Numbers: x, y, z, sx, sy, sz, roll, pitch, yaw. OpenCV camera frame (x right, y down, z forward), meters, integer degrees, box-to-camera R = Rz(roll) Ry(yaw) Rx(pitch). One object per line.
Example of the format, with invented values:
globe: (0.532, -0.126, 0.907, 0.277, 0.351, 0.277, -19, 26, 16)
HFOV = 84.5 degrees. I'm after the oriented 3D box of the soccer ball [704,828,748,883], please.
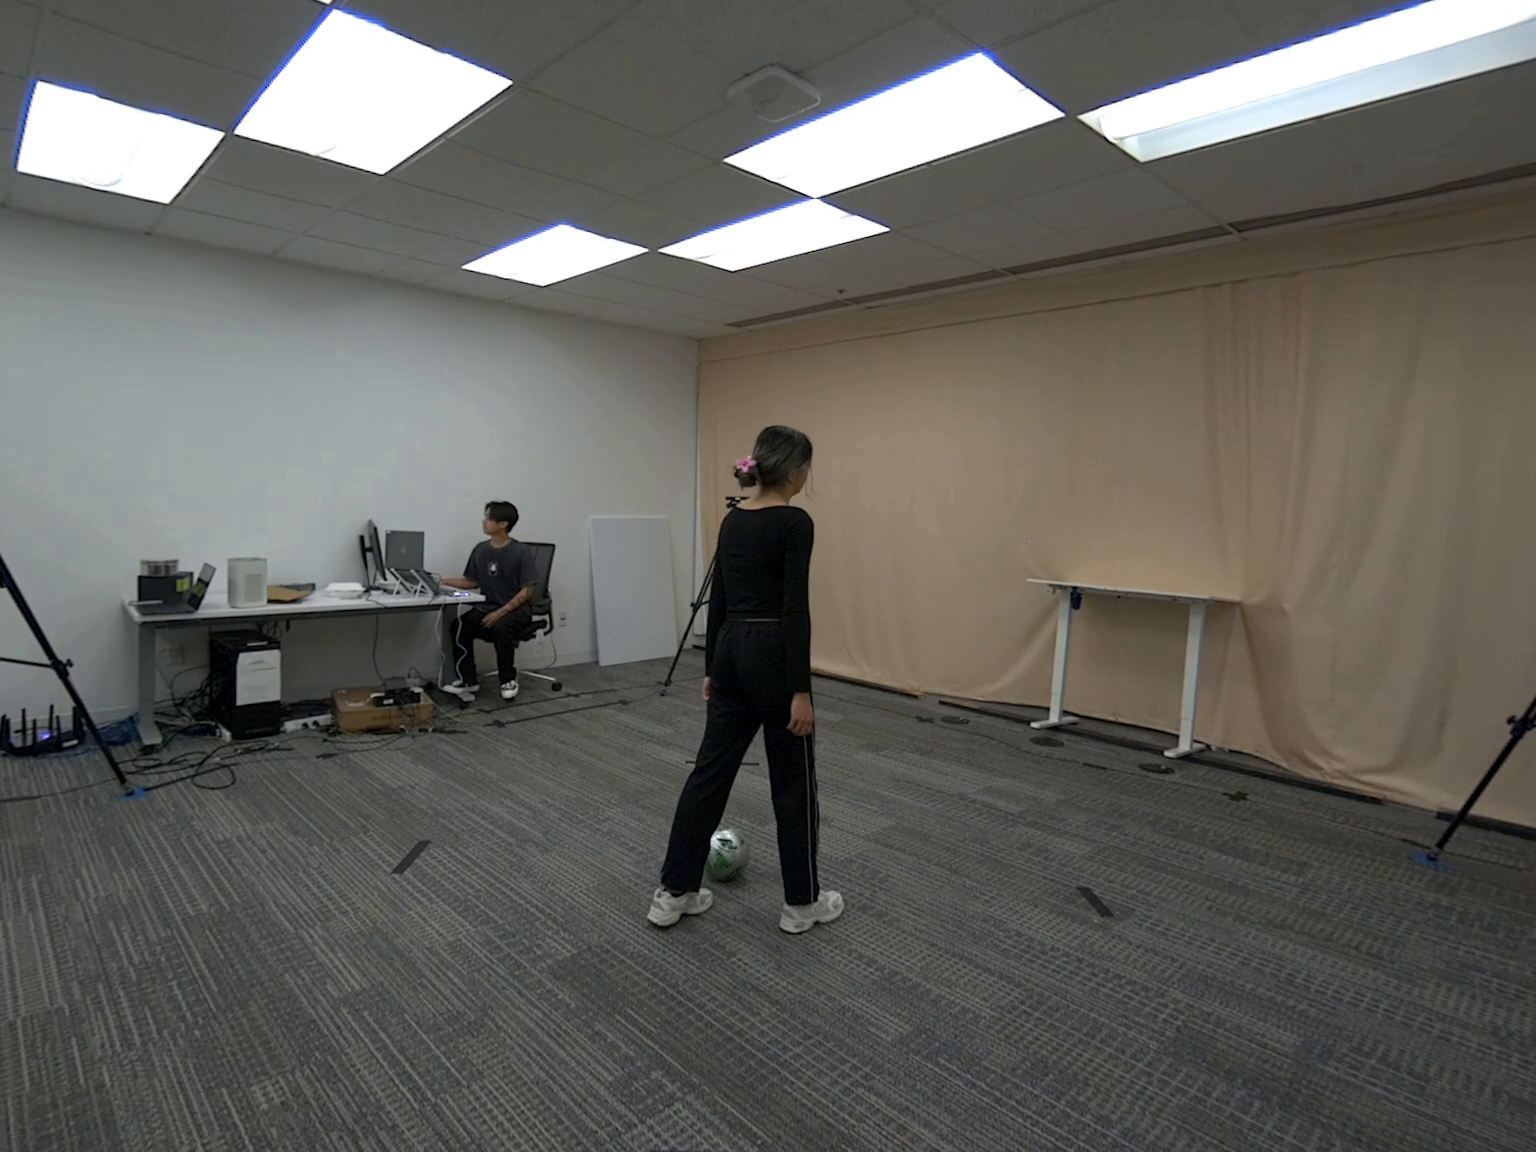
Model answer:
soccer ball: (-0.165, 1.016, 3.083, 0.187, 0.187, 0.188, 1, 4, -1)
